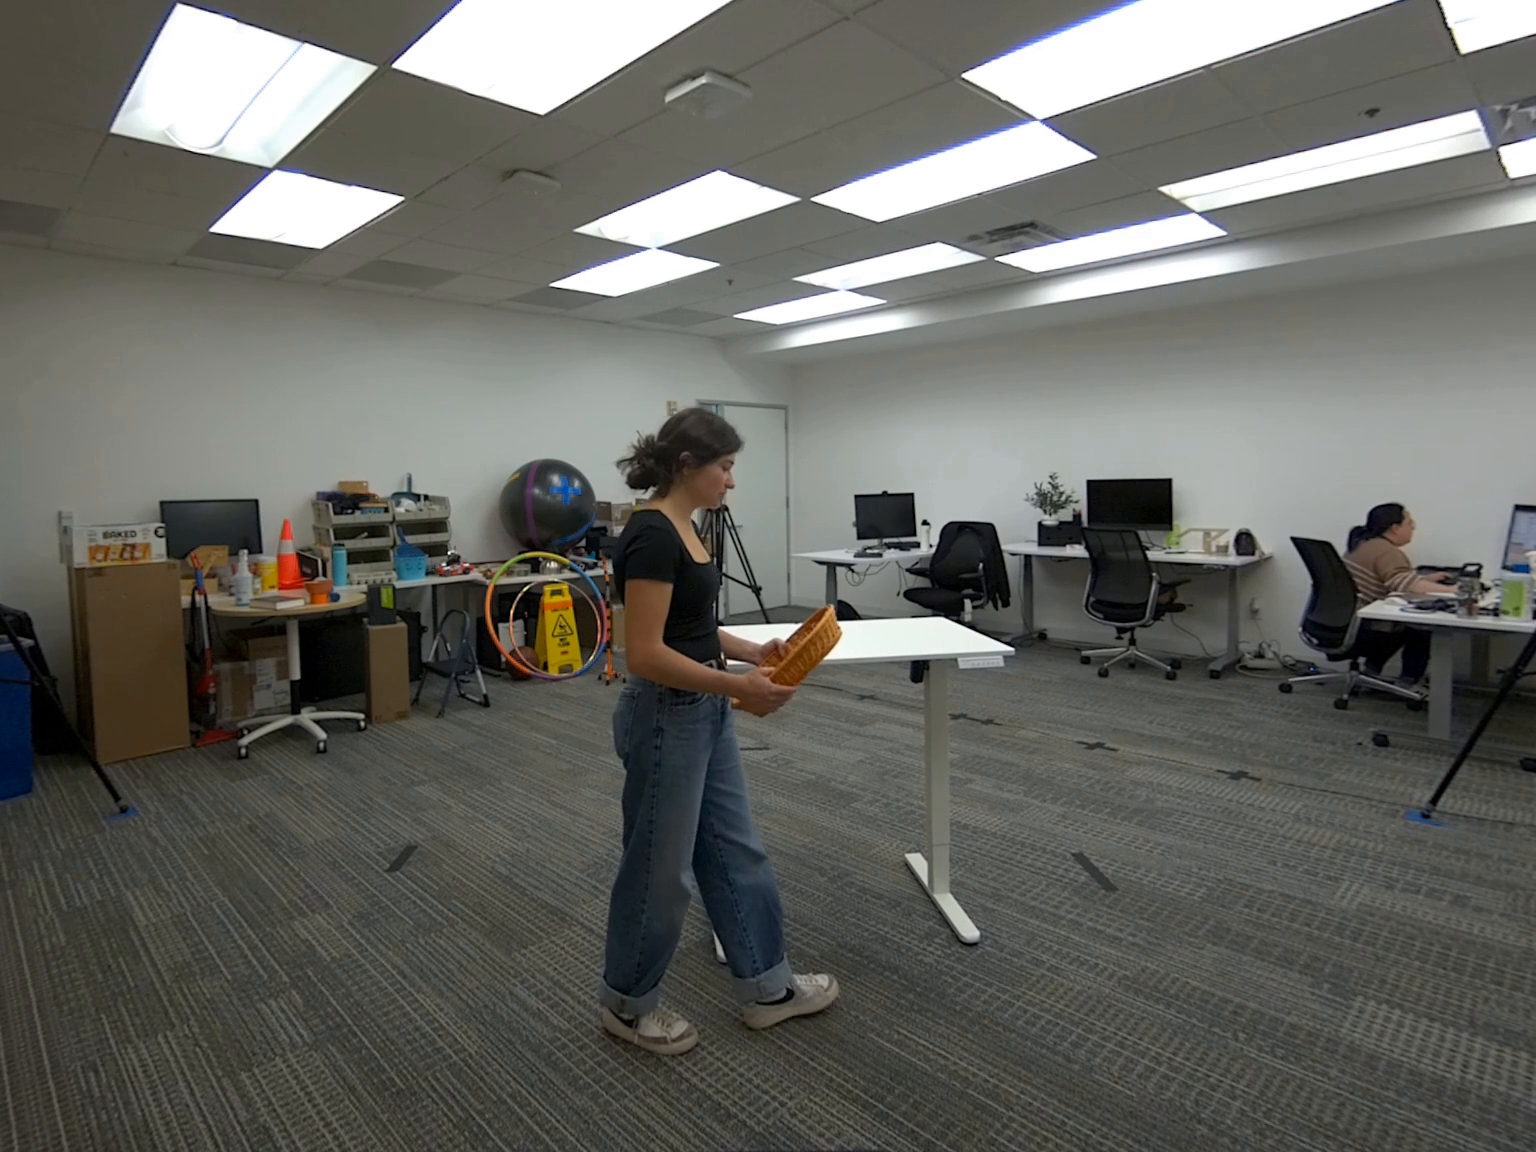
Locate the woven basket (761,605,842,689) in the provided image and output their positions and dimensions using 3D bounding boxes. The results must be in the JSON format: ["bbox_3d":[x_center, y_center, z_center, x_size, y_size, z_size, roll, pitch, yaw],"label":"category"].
[{"bbox_3d":[0.050,0.213,2.054,0.350,0.073,0.253,-44,5,10],"label":"woven basket"}]
